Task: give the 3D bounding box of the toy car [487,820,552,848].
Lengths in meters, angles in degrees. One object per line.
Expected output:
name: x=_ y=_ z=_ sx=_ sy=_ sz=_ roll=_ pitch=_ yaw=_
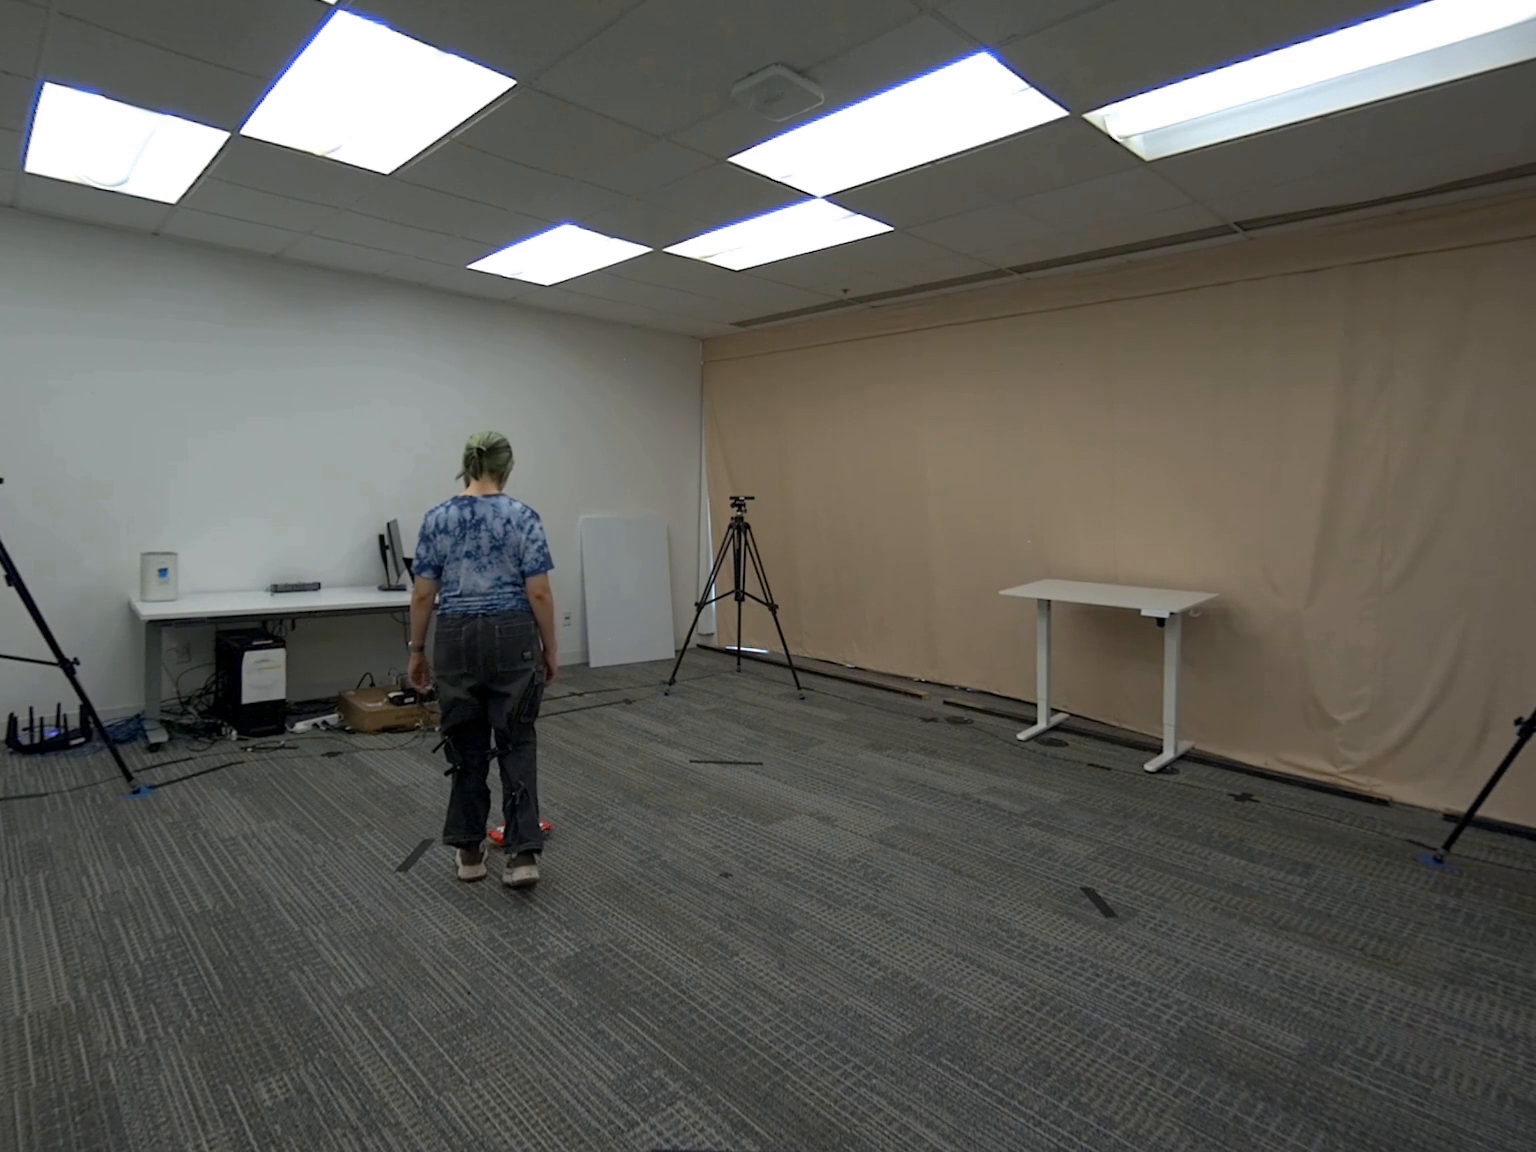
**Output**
toy car: x=-1.009 y=1.033 z=3.369 sx=0.247 sy=0.083 sz=0.134 roll=12 pitch=-4 yaw=-43
